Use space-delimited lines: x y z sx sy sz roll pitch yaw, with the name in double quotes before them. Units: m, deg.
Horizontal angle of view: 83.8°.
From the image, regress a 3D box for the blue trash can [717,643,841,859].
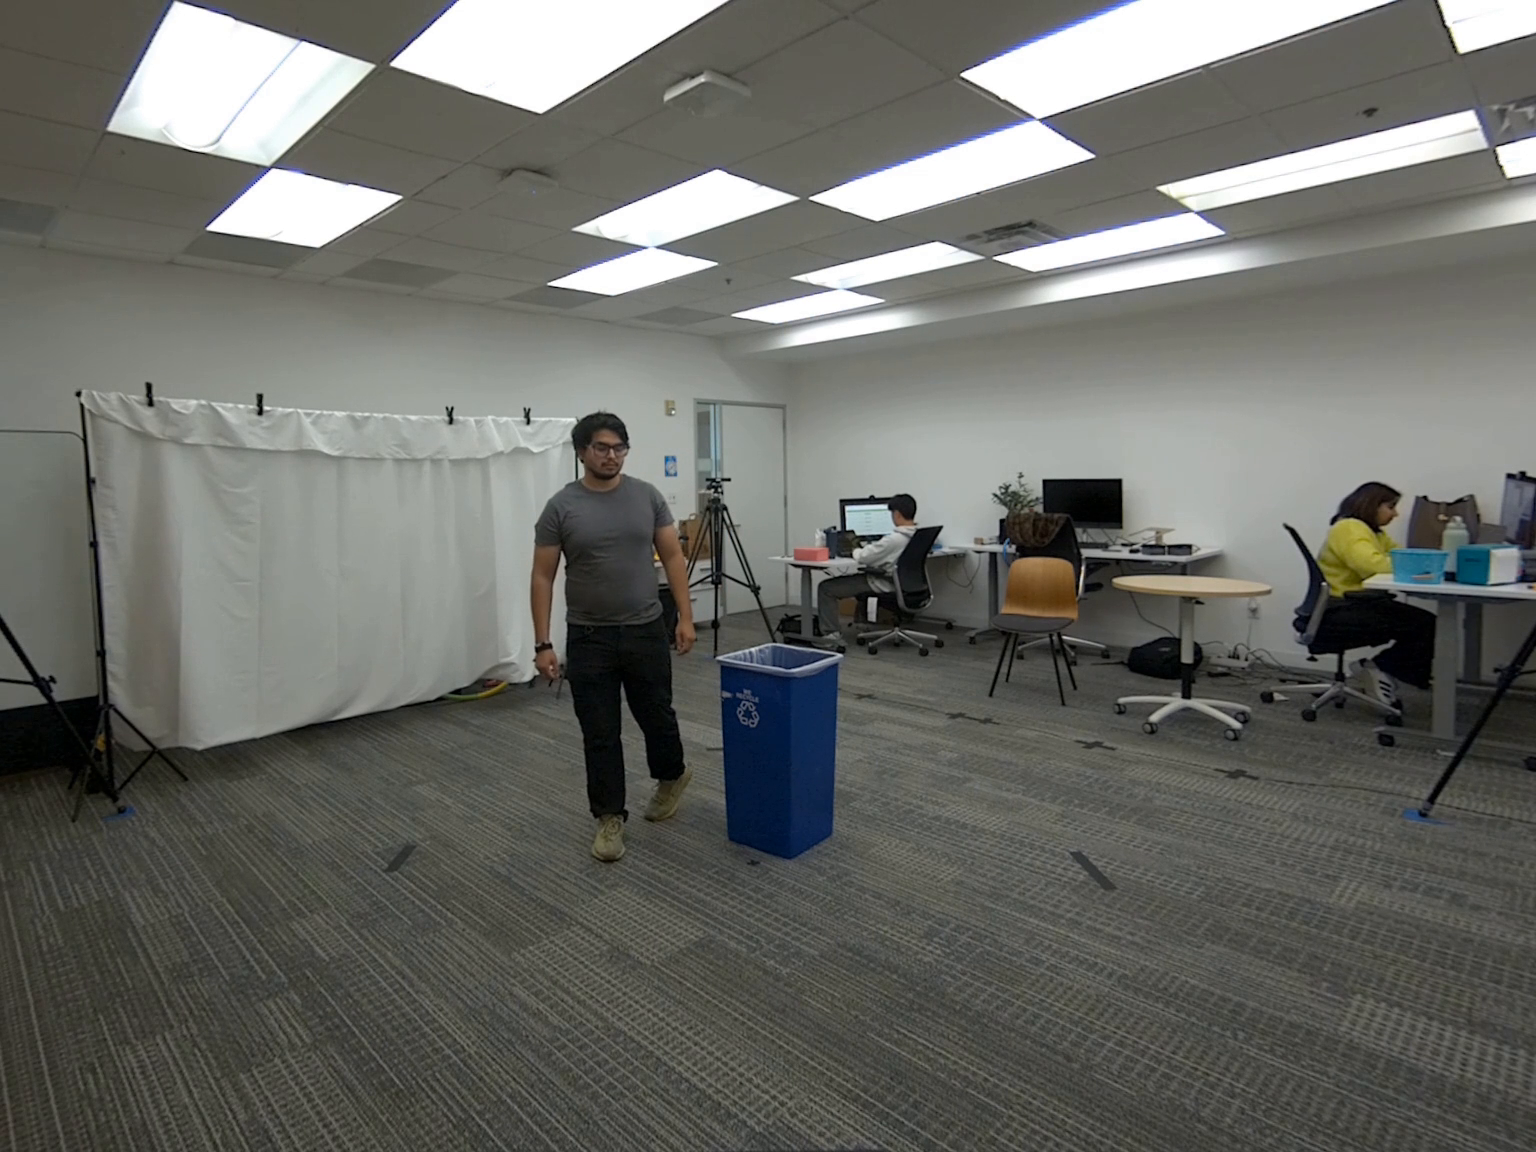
"blue trash can" 0.052 0.658 3.301 0.385 0.711 0.368 2 5 38
